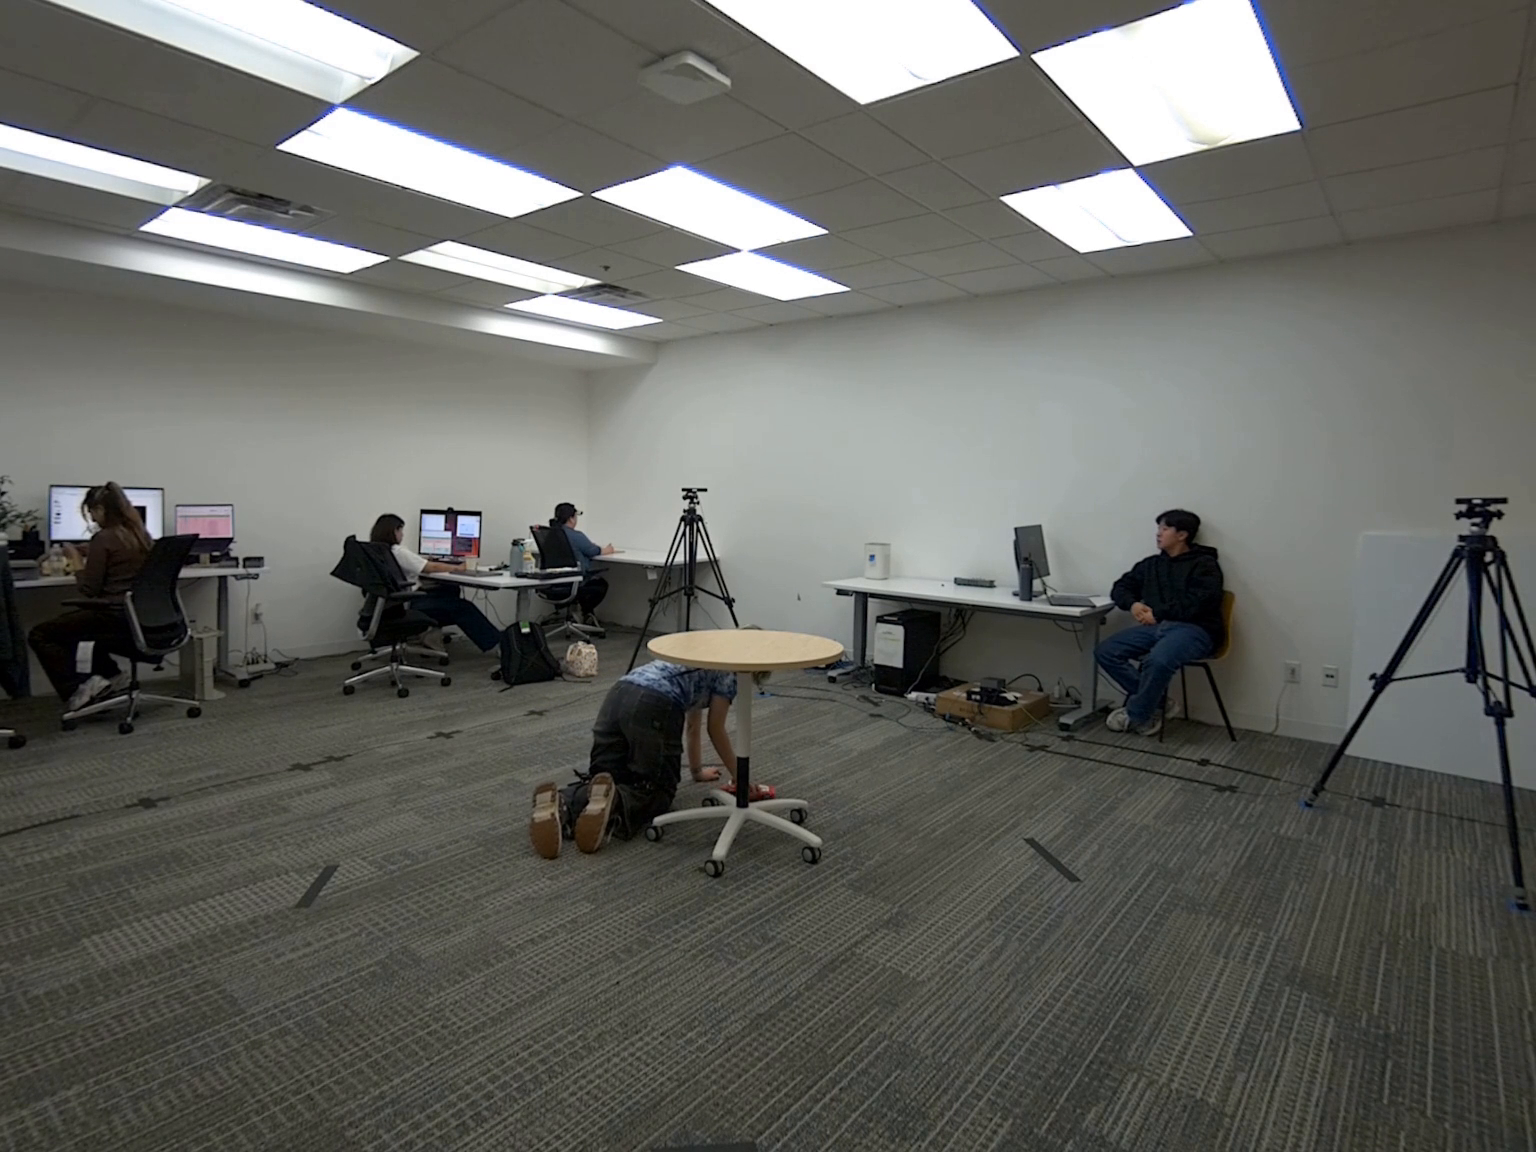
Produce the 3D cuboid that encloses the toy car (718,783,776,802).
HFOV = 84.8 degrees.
[{"bbox_3d":[-0.105,0.978,3.843,0.256,0.083,0.130,11,6,5],"label":"toy car"}]
